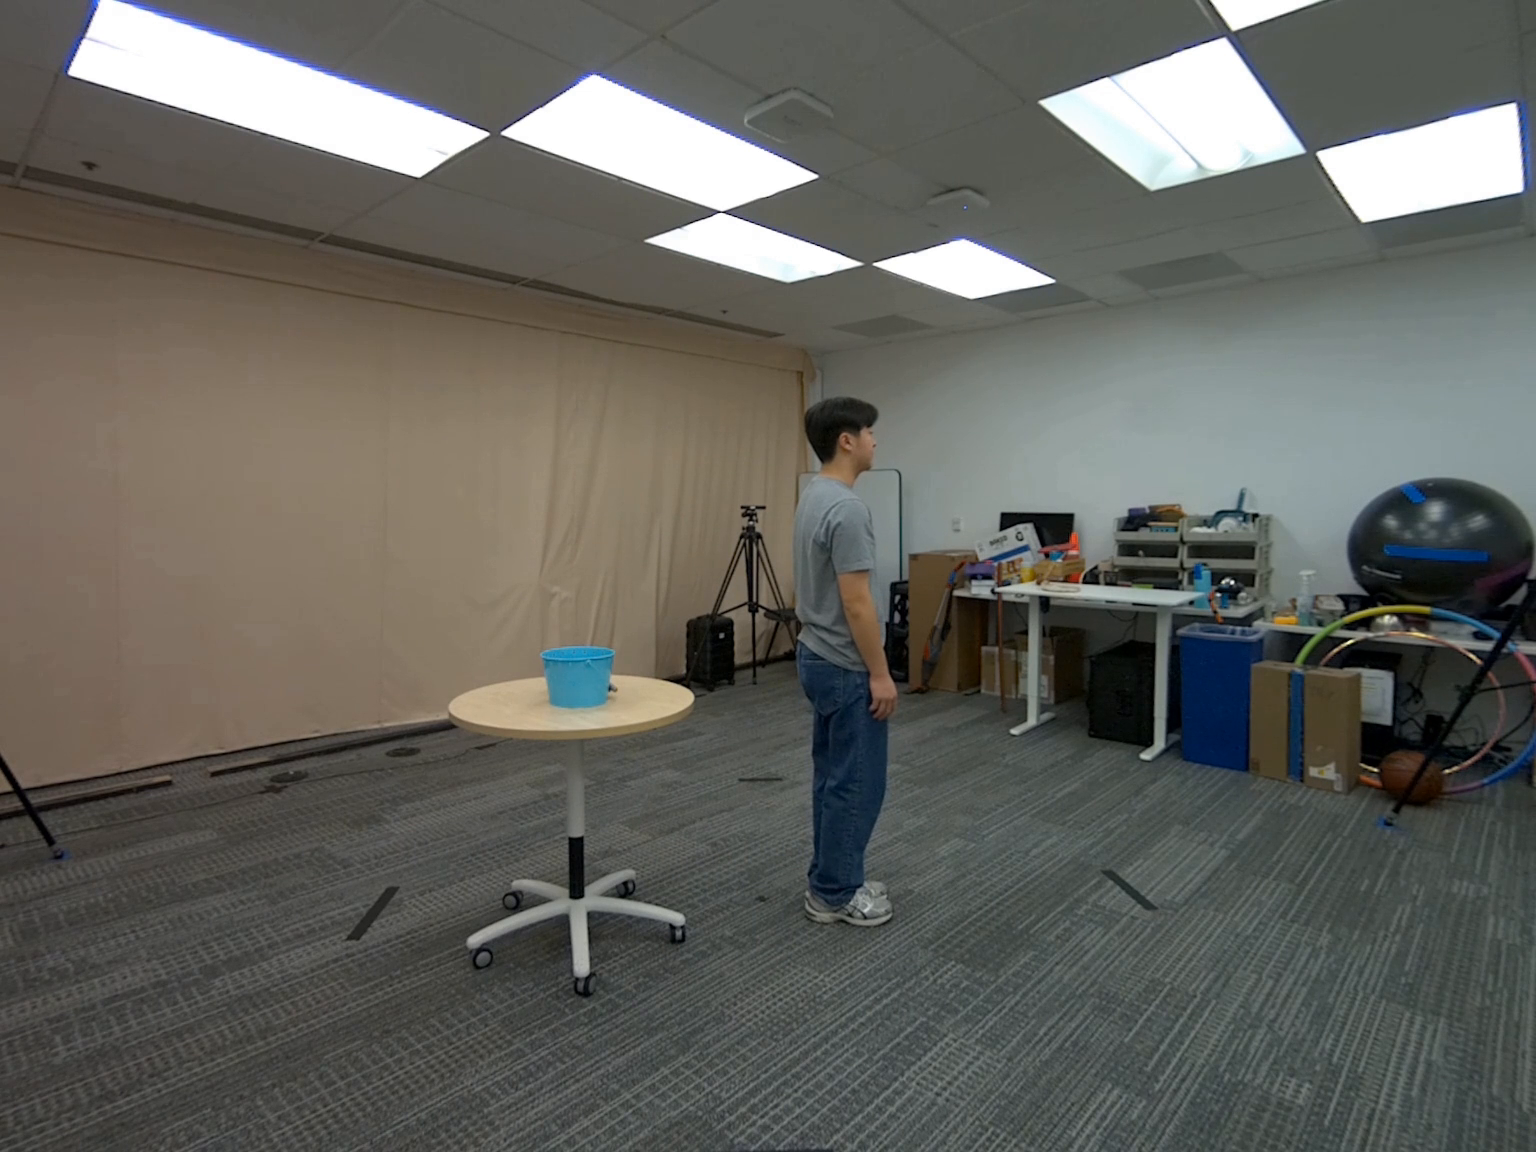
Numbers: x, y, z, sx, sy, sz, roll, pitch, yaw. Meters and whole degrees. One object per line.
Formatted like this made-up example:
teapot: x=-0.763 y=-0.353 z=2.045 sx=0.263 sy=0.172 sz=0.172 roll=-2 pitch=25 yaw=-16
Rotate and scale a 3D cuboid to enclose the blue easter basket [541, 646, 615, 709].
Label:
blue easter basket: x=-0.590 y=0.322 z=2.638 sx=0.243 sy=0.155 sz=0.244 roll=0 pitch=5 yaw=-2
